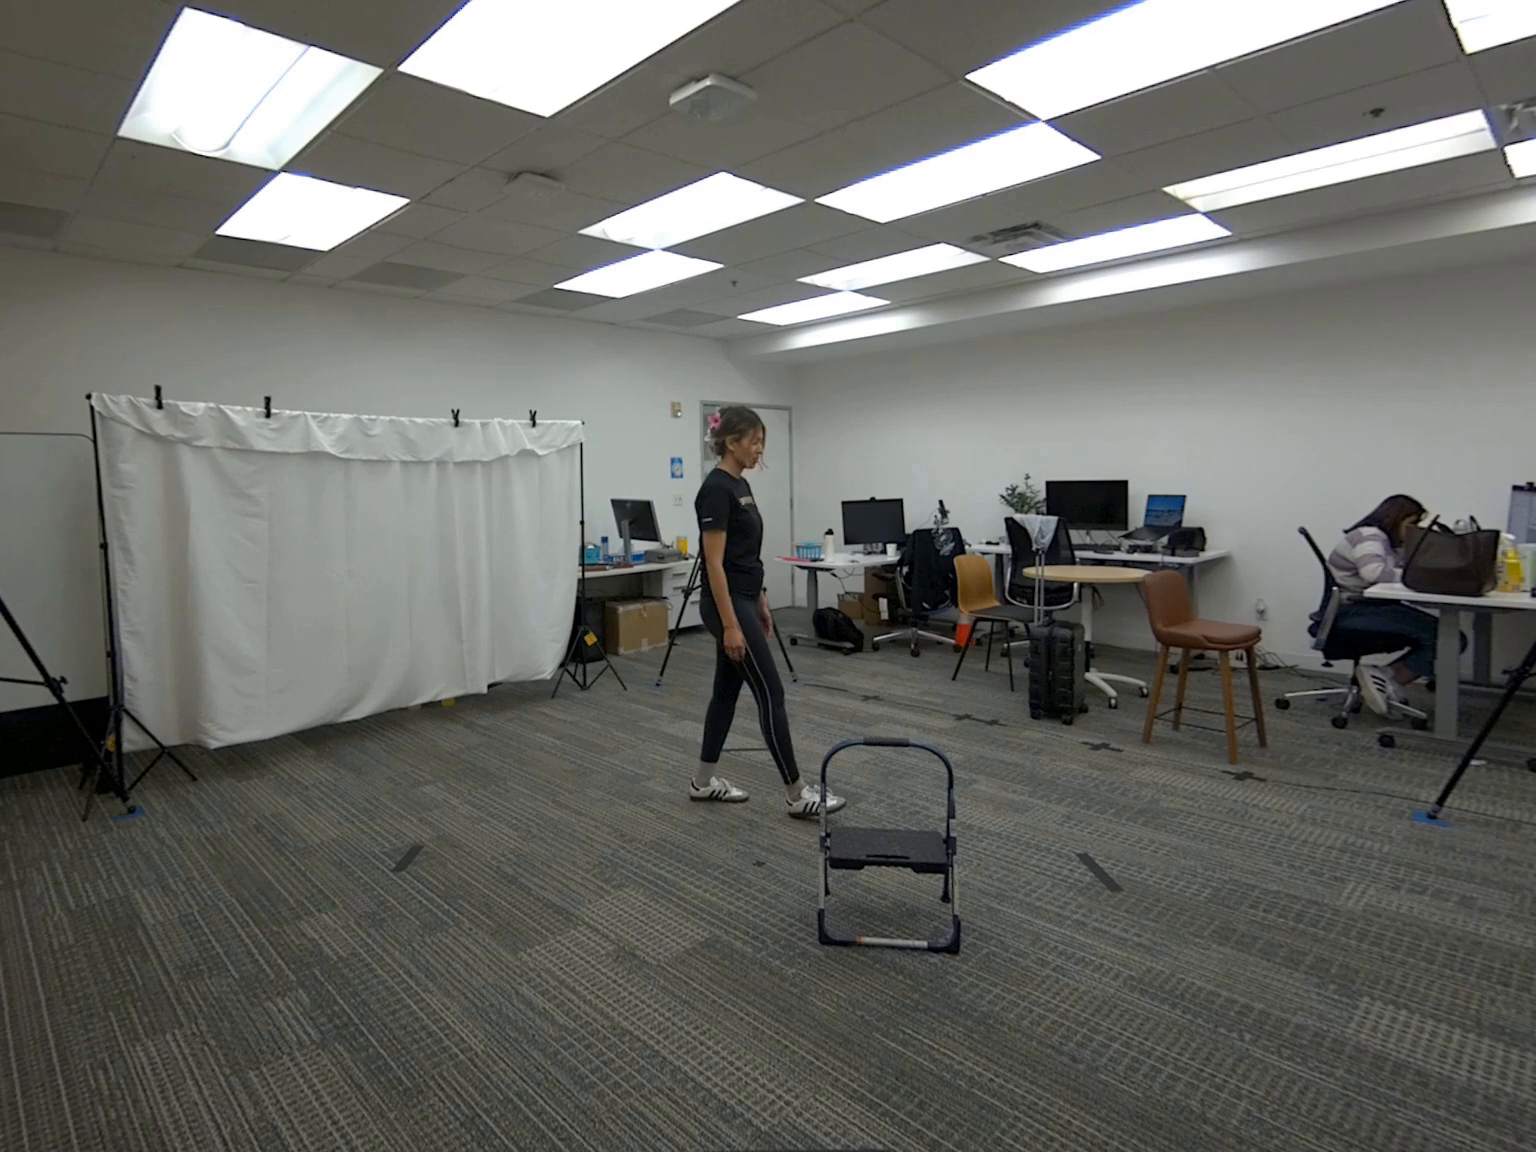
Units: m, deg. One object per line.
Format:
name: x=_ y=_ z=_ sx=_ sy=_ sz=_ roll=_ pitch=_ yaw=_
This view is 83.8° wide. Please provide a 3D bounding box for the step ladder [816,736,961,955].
step ladder: x=0.373 y=0.788 z=2.677 sx=0.434 sy=0.604 sz=0.348 roll=0 pitch=3 yaw=7
